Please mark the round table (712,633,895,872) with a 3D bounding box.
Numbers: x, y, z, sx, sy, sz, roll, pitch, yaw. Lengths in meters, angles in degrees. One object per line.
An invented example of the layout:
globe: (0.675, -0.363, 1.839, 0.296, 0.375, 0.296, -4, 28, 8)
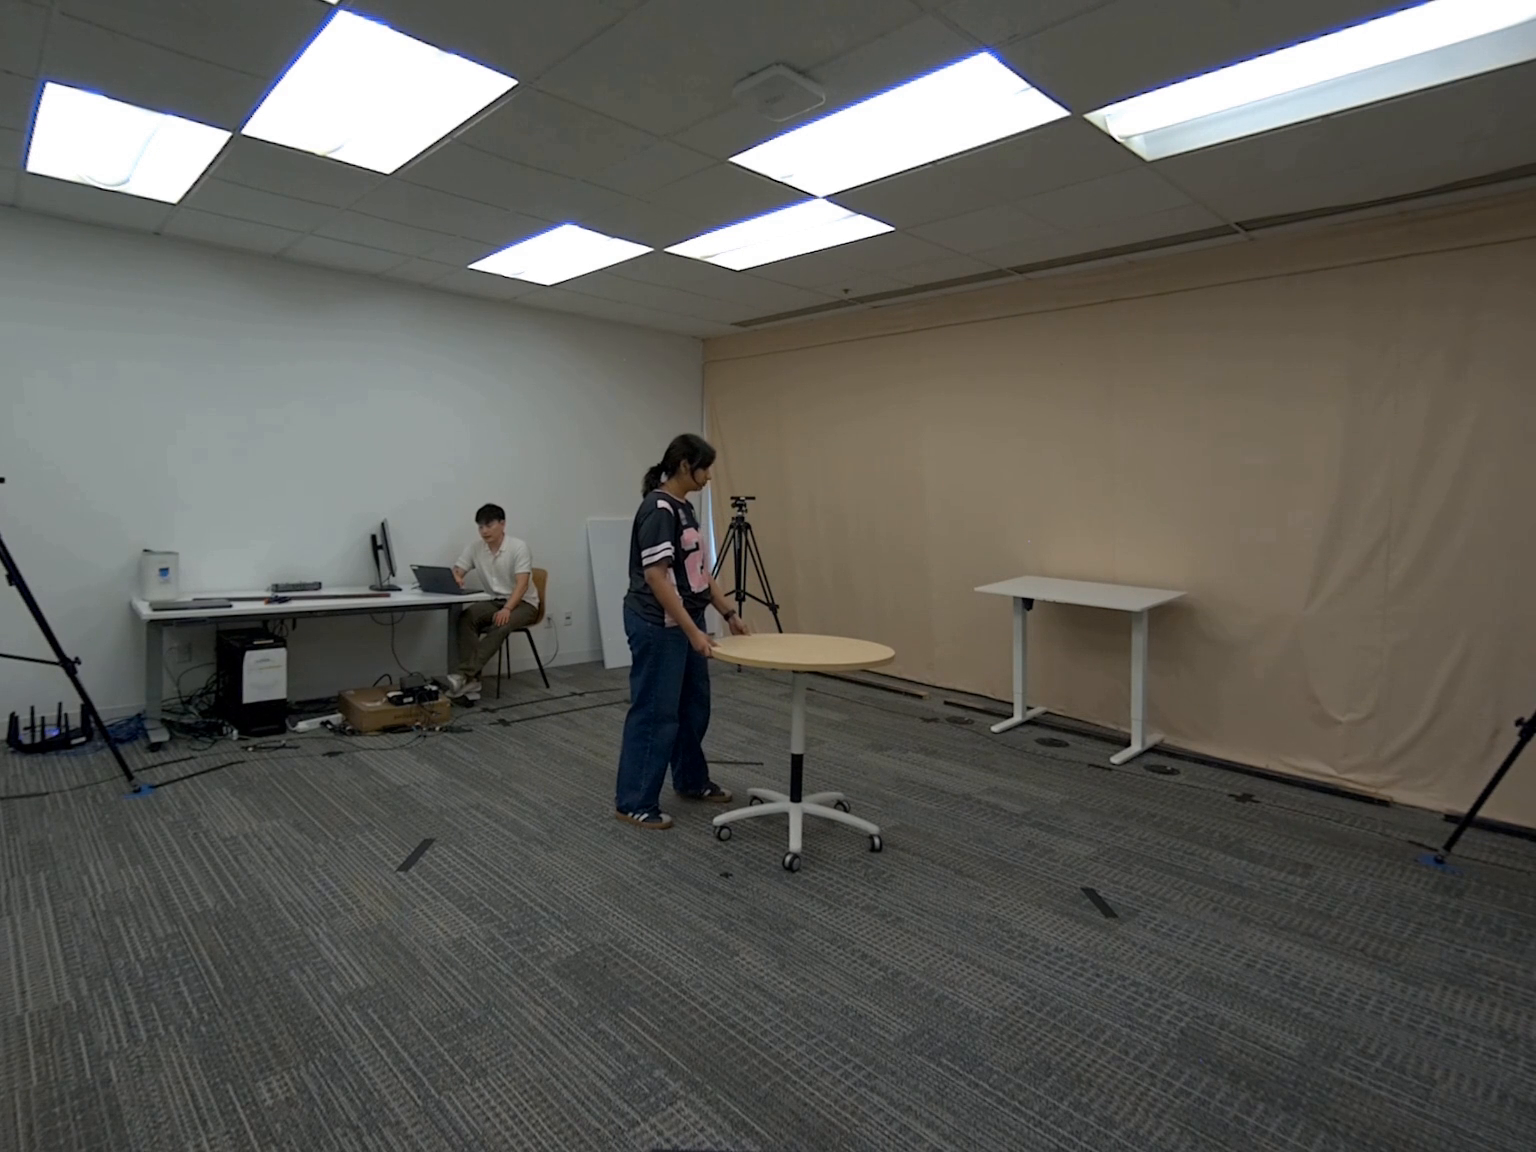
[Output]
round table: (0.117, 0.690, 3.478, 0.763, 0.792, 0.766, 1, 3, -1)
